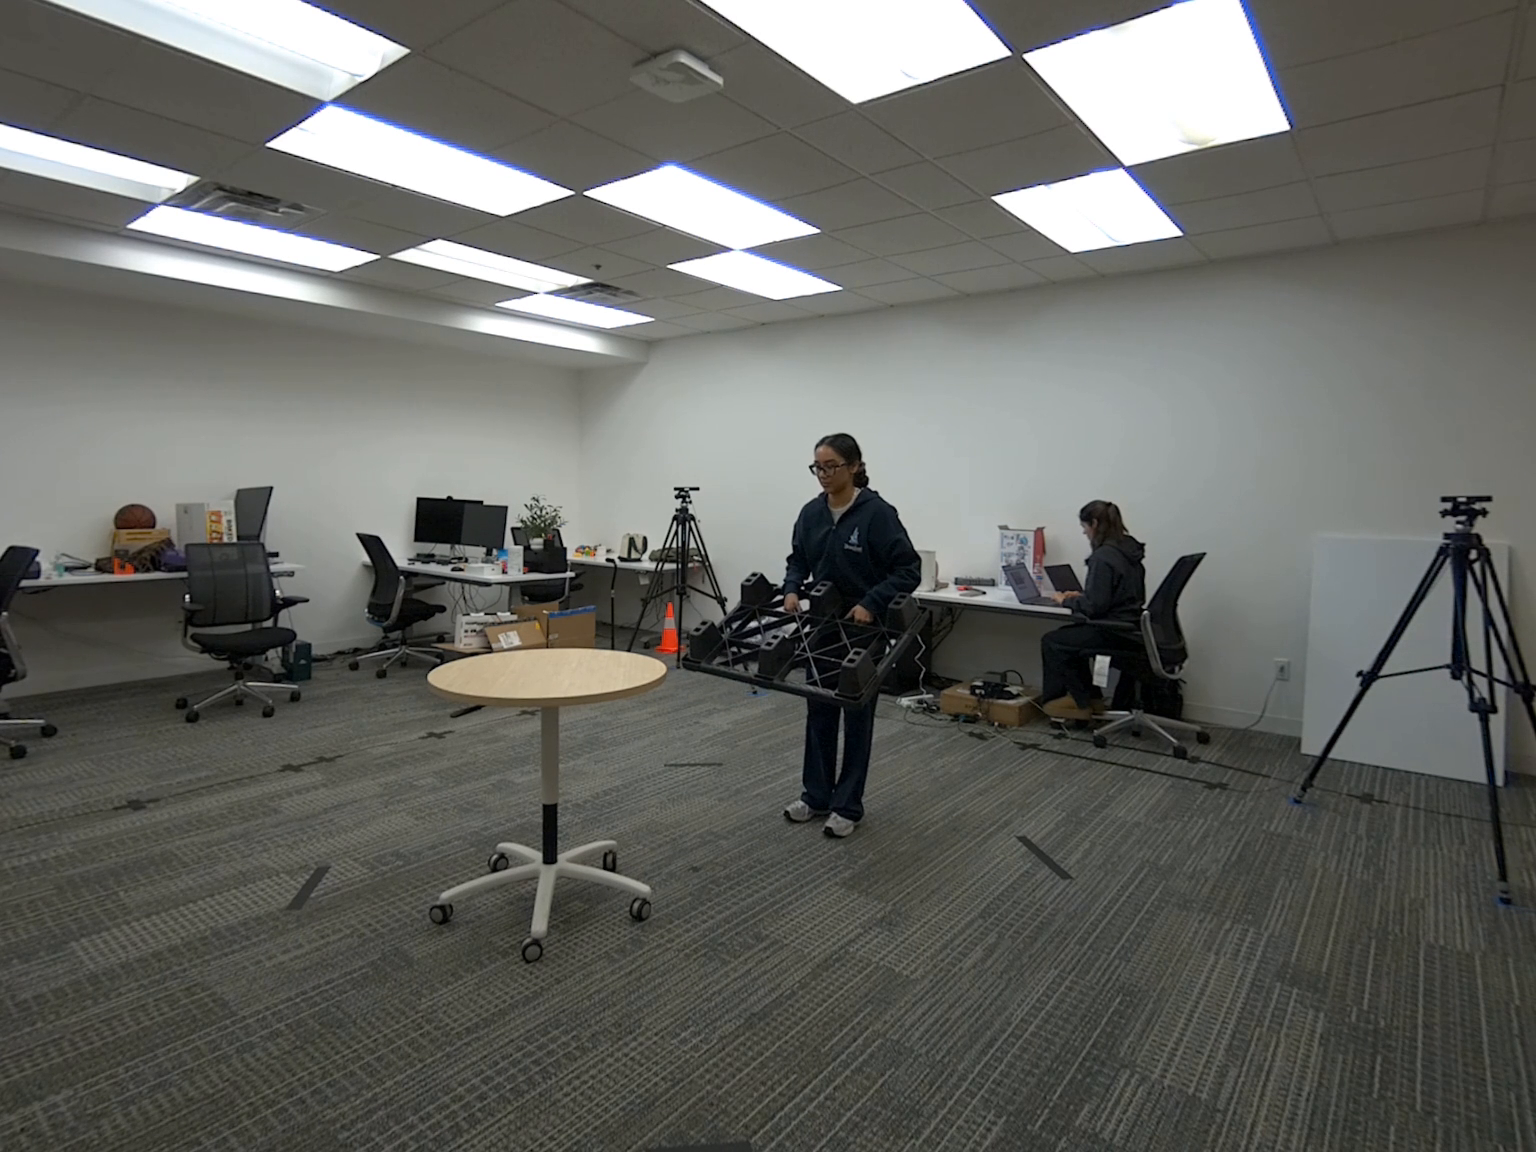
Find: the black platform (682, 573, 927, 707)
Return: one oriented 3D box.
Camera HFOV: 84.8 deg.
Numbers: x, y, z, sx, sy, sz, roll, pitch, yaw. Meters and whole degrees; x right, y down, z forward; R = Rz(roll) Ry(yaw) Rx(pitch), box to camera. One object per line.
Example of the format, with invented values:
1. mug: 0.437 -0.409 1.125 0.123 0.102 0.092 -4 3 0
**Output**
1. black platform: 0.115 0.203 3.296 0.833 0.139 0.602 7 36 36
